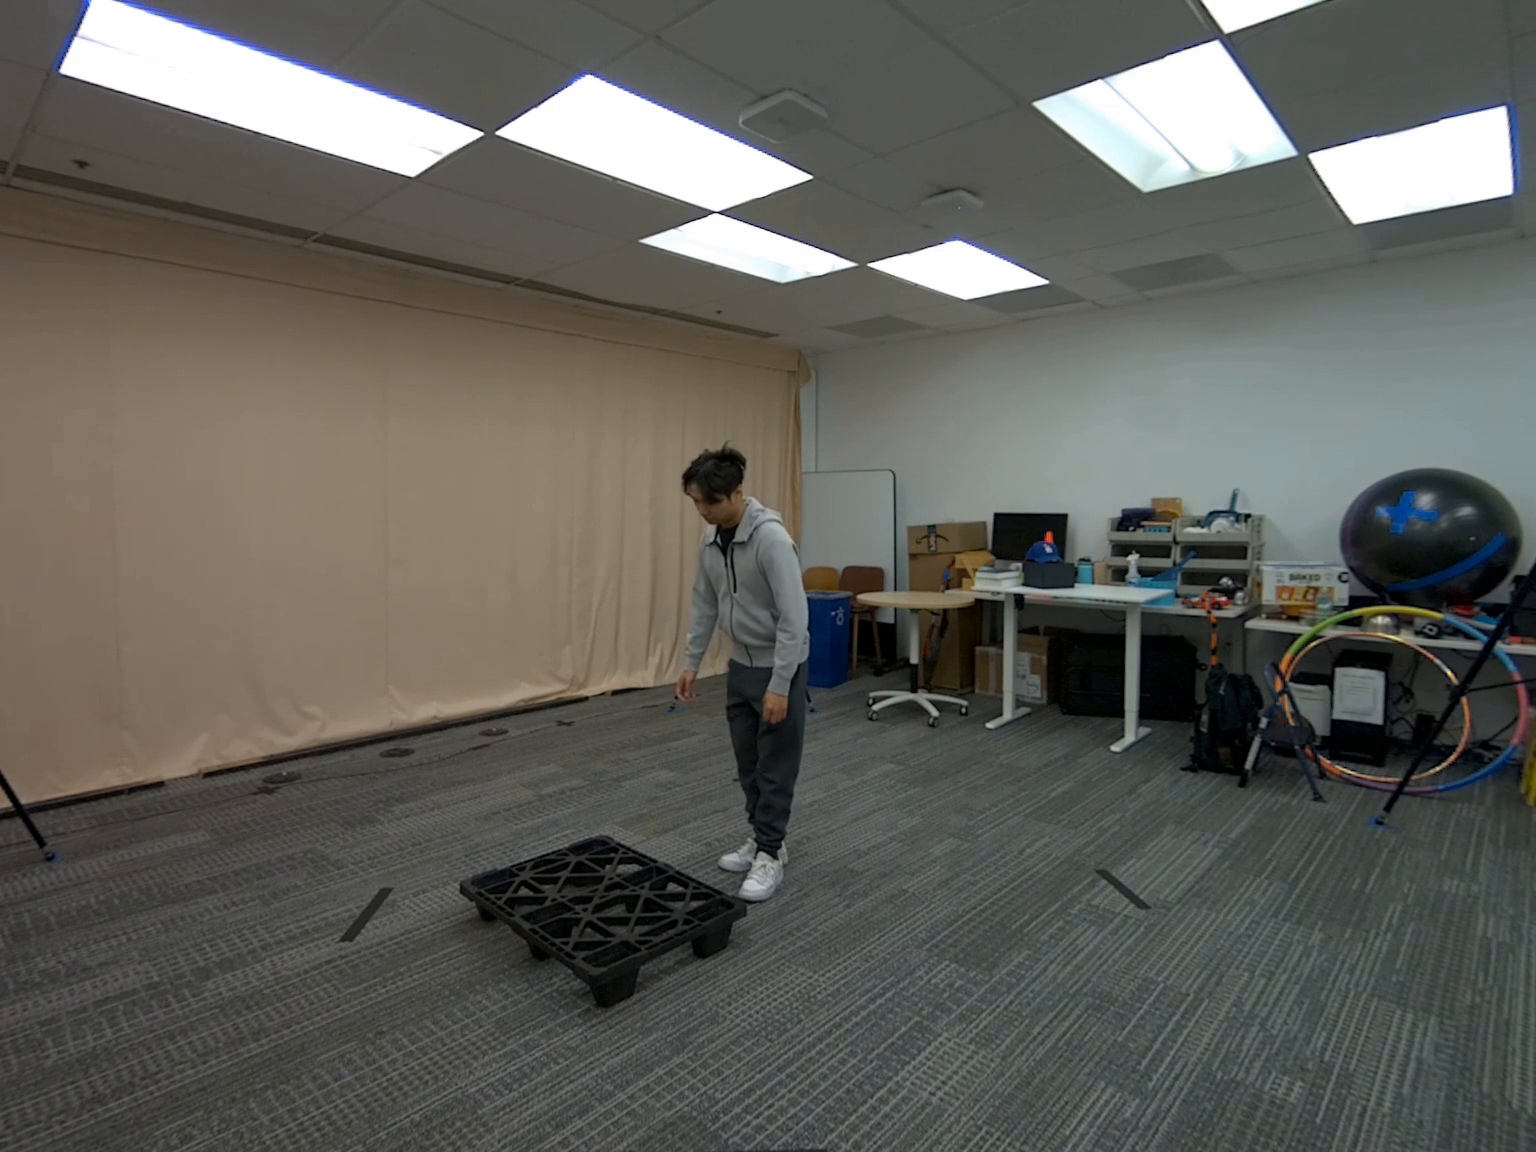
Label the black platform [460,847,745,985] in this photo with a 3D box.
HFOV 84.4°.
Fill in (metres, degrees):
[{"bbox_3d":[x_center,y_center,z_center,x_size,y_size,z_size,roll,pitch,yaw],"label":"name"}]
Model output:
[{"bbox_3d":[-0.555,1.099,2.760,0.586,0.143,0.832,-5,6,-45],"label":"black platform"}]
